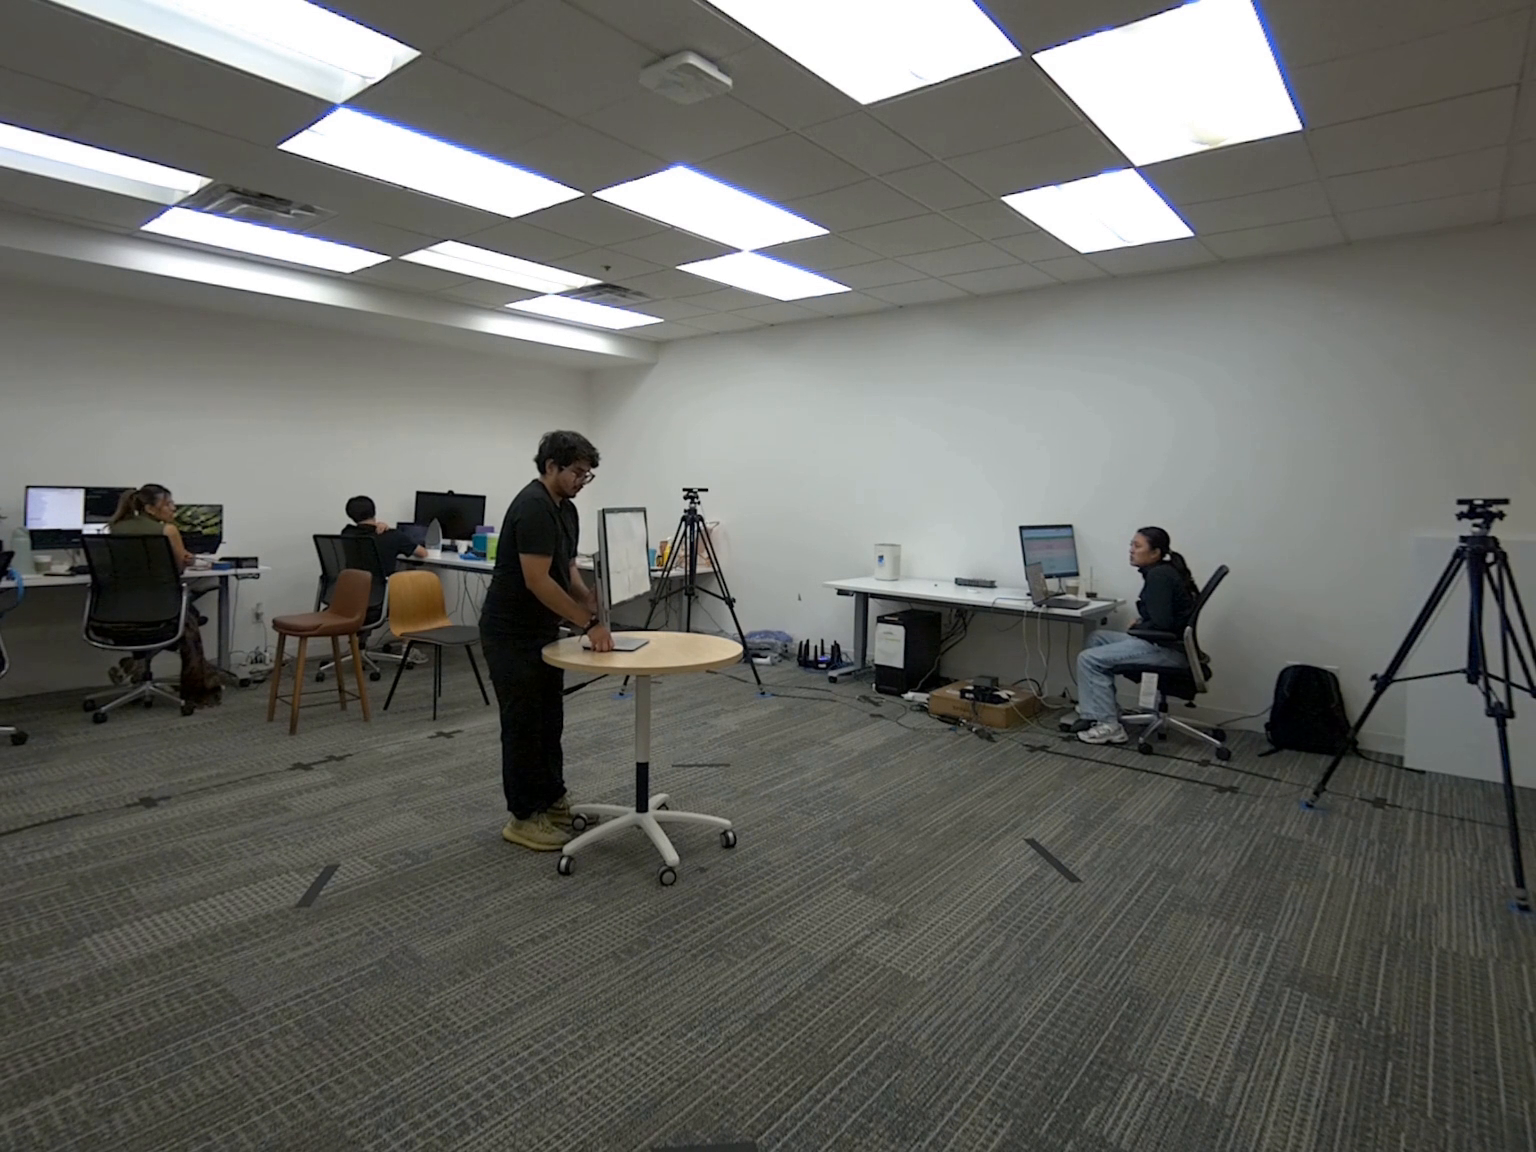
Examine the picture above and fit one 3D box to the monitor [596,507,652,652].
[{"bbox_3d":[-0.620,0.006,3.293,0.212,0.553,0.561,-1,3,8],"label":"monitor"}]
